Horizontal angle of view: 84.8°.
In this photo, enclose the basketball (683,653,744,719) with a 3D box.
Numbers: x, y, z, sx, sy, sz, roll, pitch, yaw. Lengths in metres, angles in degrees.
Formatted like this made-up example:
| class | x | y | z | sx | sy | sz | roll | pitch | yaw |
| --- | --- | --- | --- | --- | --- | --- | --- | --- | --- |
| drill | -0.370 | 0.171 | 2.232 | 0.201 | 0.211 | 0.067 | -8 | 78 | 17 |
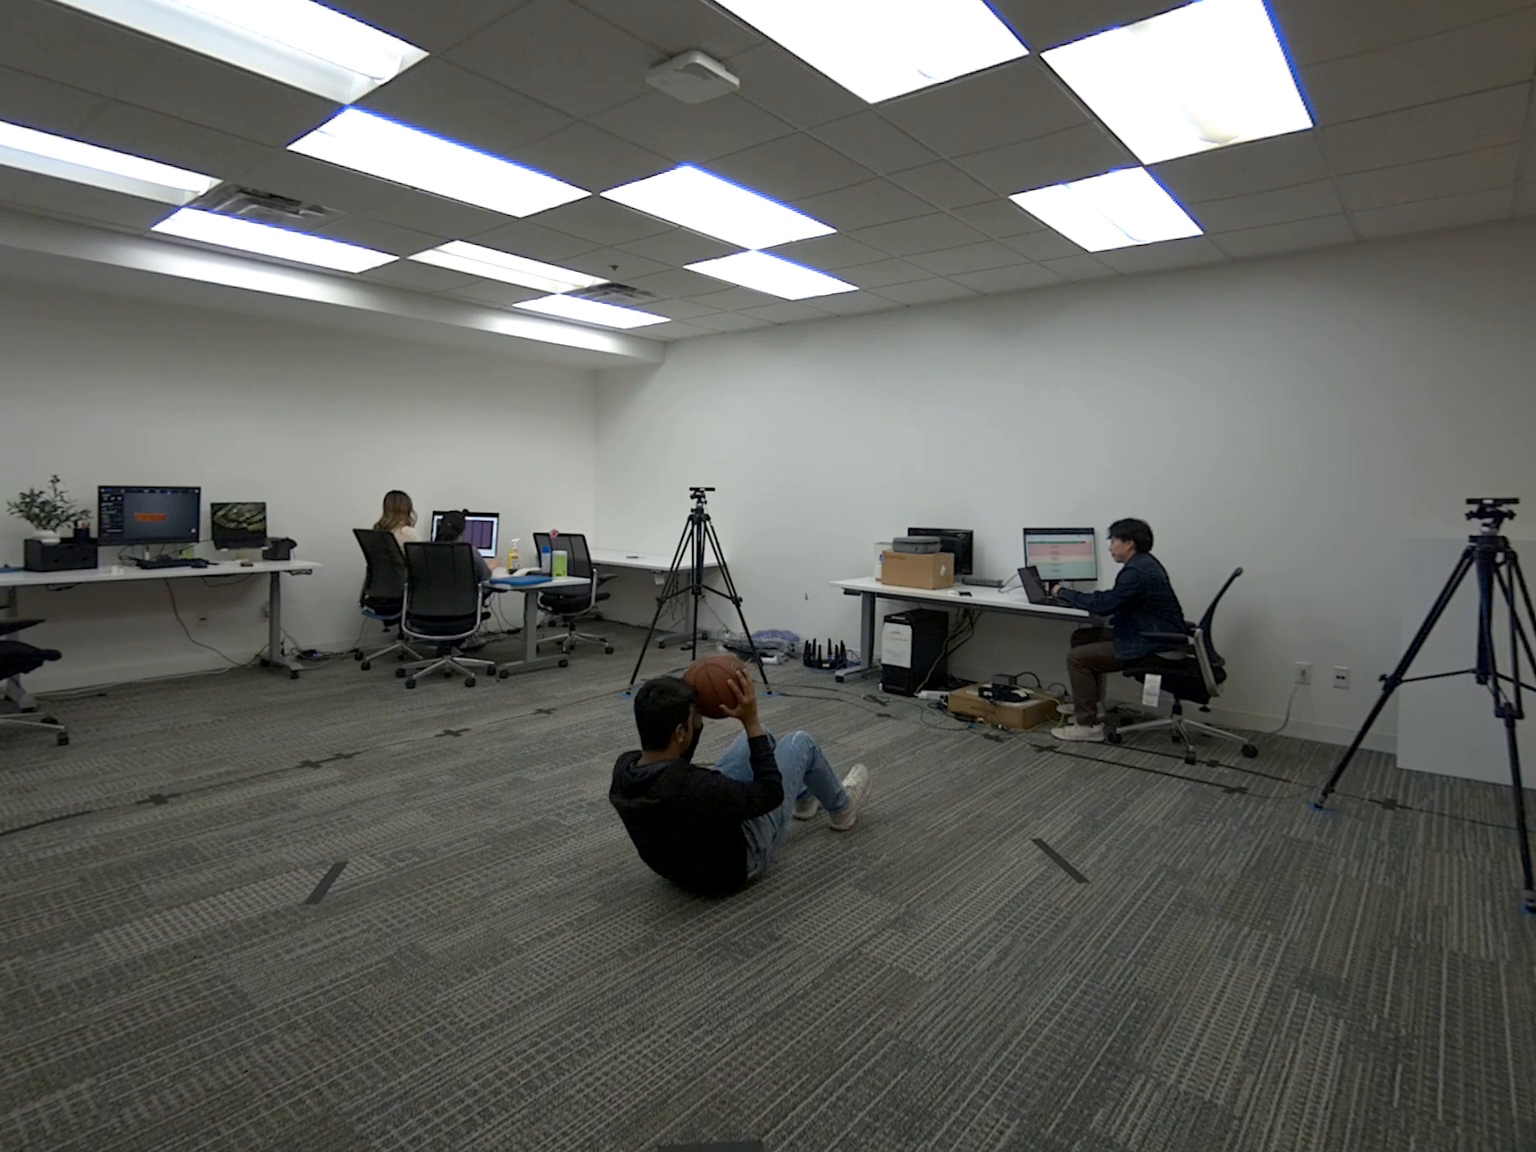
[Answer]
| class | x | y | z | sx | sy | sz | roll | pitch | yaw |
| --- | --- | --- | --- | --- | --- | --- | --- | --- | --- |
| basketball | -0.195 | 0.397 | 3.029 | 0.235 | 0.235 | 0.237 | 1 | 4 | -2 |
